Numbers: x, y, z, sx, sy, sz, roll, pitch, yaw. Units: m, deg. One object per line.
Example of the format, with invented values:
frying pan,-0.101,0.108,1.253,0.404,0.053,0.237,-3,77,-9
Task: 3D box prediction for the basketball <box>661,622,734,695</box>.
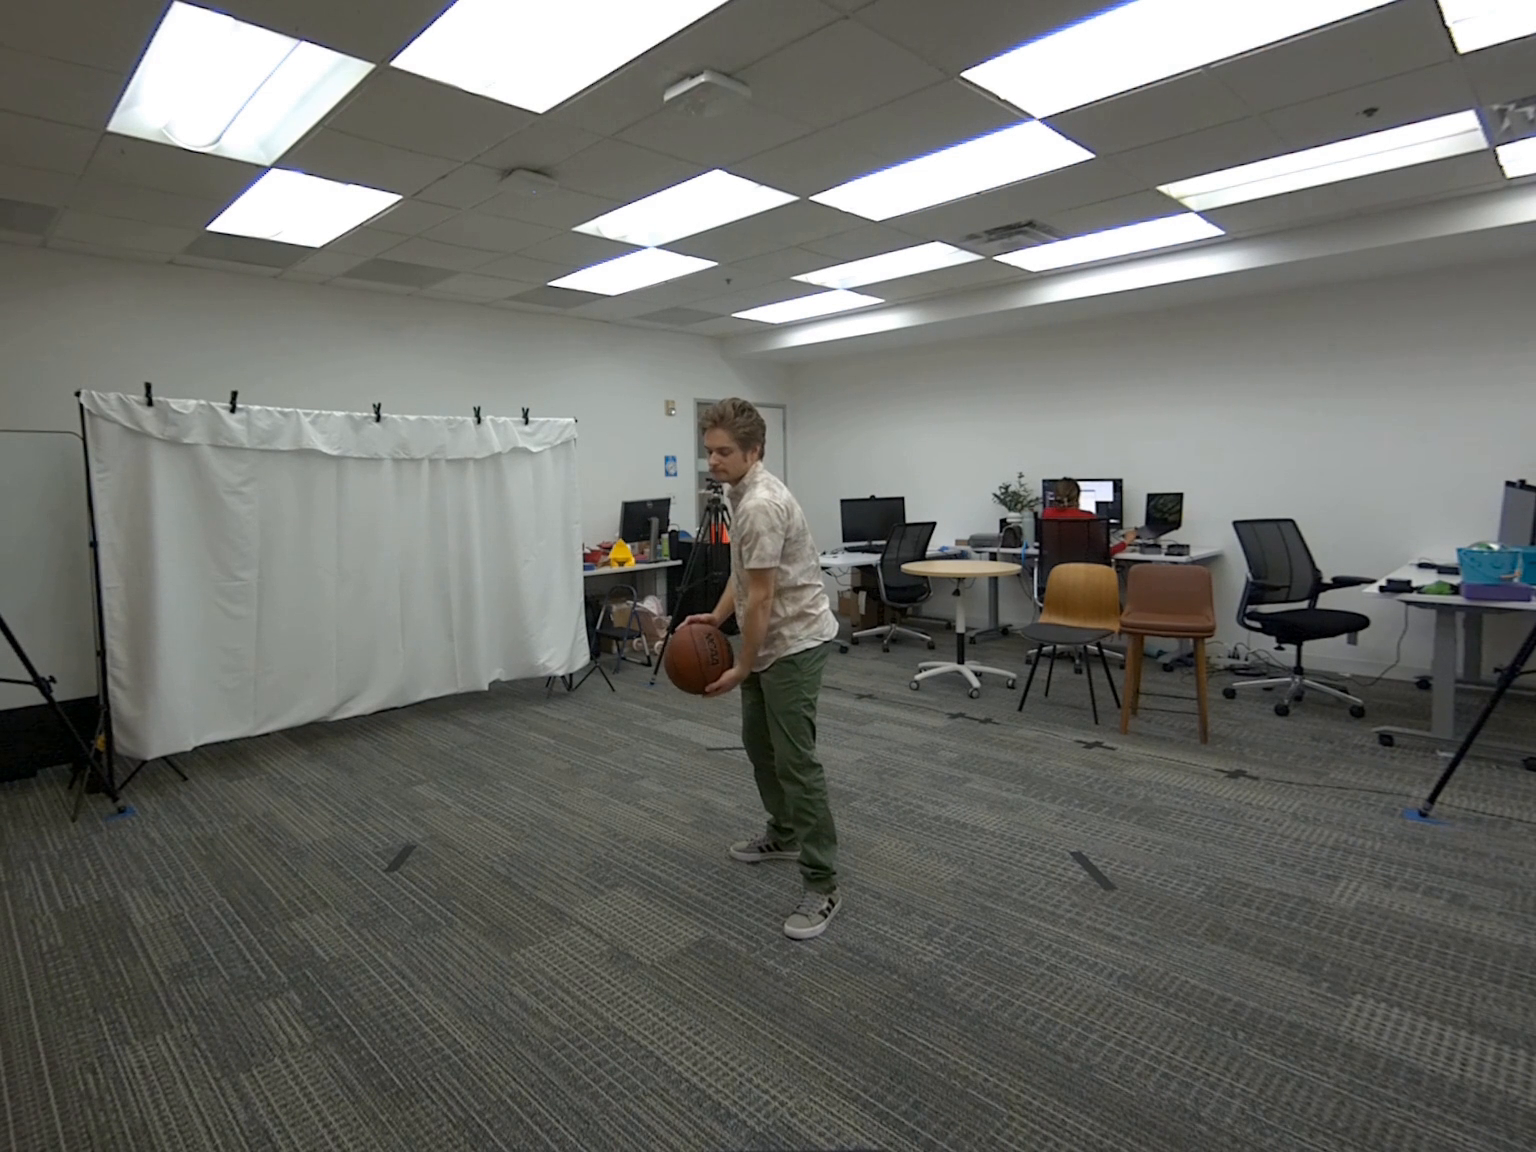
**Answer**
basketball,-0.237,0.272,2.899,0.236,0.235,0.237,-1,5,-2
